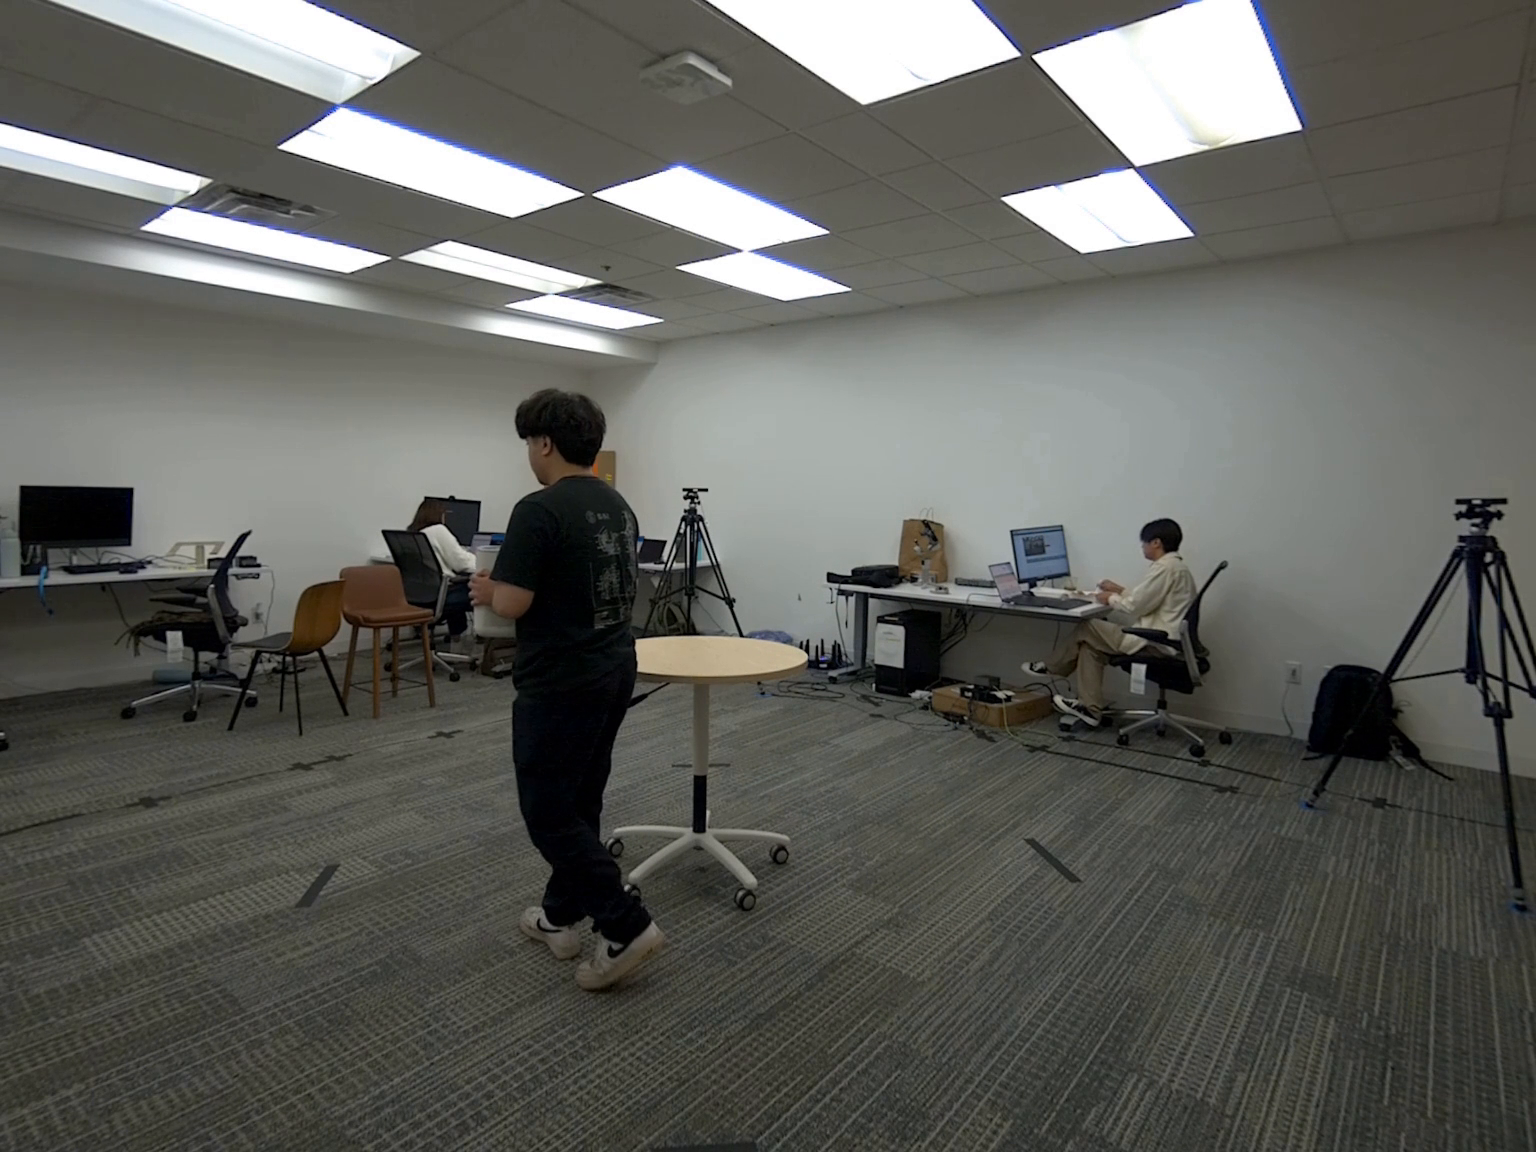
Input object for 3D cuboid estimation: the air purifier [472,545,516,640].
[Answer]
[{"bbox_3d":[-0.819,0.047,2.612,0.169,0.264,0.174,1,6,-12],"label":"air purifier"}]
